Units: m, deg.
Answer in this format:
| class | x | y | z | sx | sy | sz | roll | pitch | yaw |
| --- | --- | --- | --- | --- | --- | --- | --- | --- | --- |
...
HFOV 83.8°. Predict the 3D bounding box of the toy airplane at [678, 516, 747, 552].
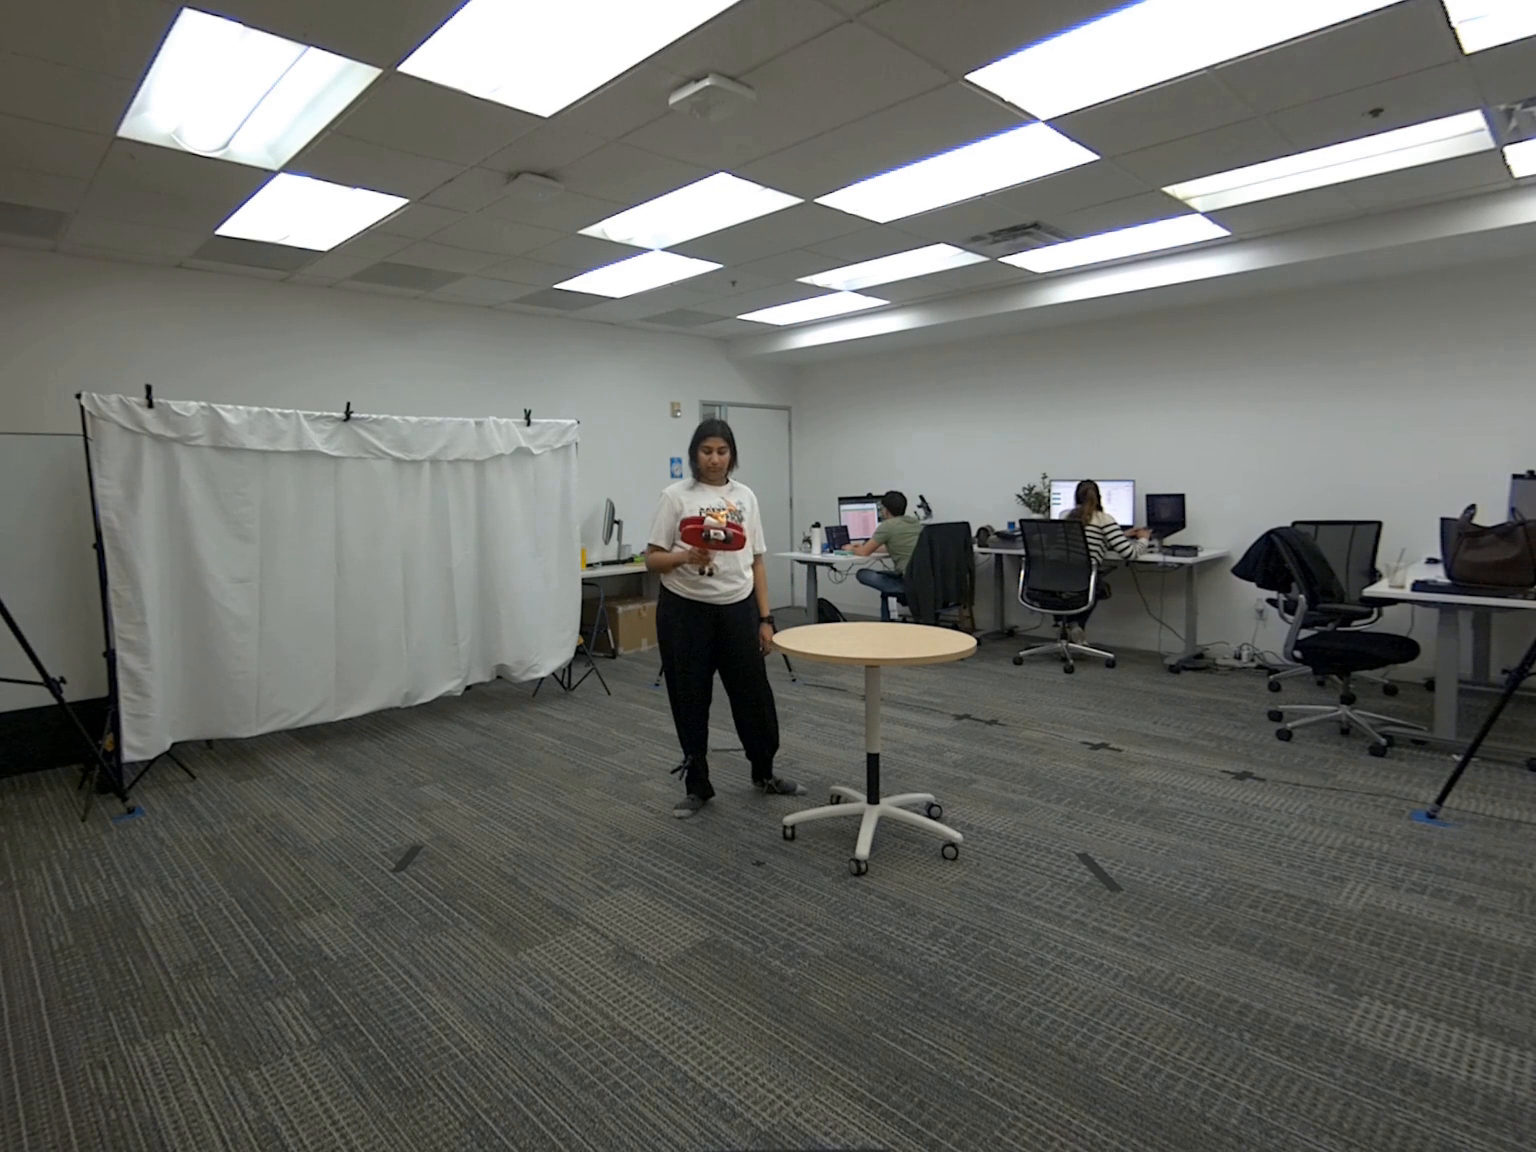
| class | x | y | z | sx | sy | sz | roll | pitch | yaw |
| --- | --- | --- | --- | --- | --- | --- | --- | --- | --- |
| toy airplane | -0.235 | -0.126 | 3.310 | 0.242 | 0.161 | 0.260 | 32 | -60 | -33 |
